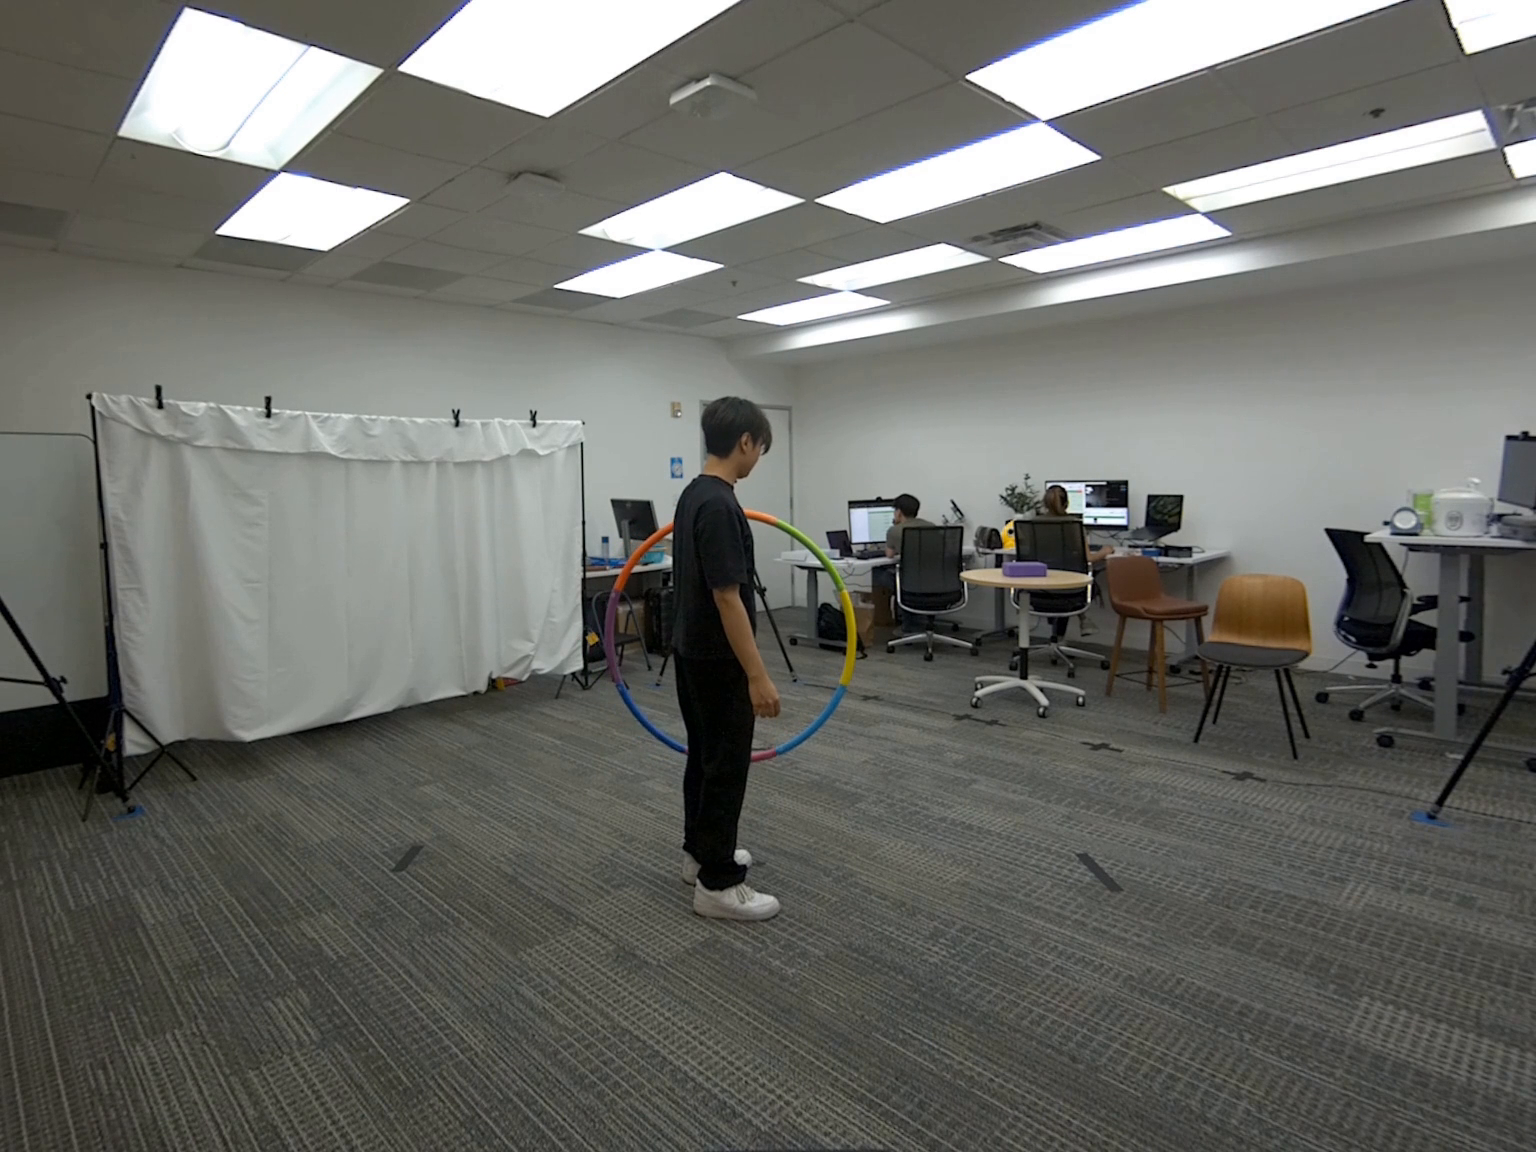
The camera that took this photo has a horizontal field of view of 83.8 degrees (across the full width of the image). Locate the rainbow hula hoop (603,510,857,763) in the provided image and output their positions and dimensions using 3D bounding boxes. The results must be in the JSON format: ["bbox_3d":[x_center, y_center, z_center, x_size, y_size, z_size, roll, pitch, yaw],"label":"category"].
[{"bbox_3d":[-0.148,0.228,3.324,0.980,0.977,0.035,-1,1,2],"label":"rainbow hula hoop"}]
